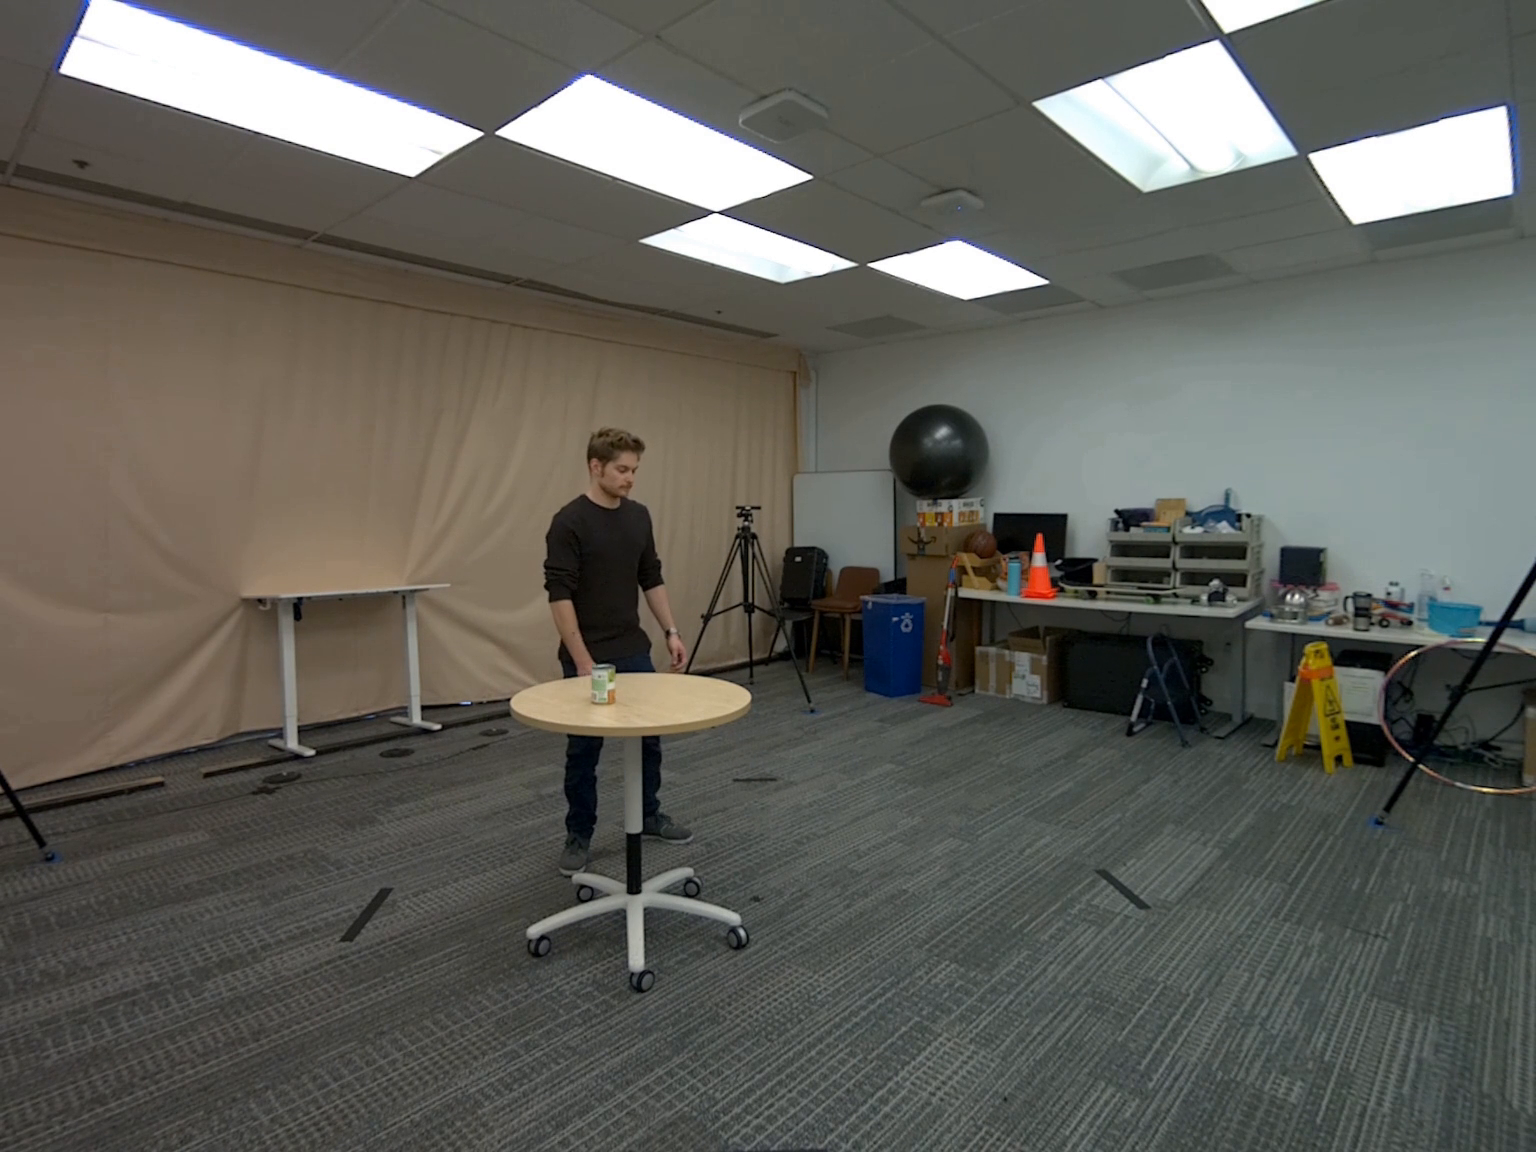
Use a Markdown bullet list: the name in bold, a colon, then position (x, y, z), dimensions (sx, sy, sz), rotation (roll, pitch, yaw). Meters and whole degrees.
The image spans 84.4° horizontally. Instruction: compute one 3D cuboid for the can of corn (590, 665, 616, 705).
- **can of corn**: position (-0.516, 0.336, 2.618), dimensions (0.074, 0.111, 0.074), rotation (-5, 2, -2)
